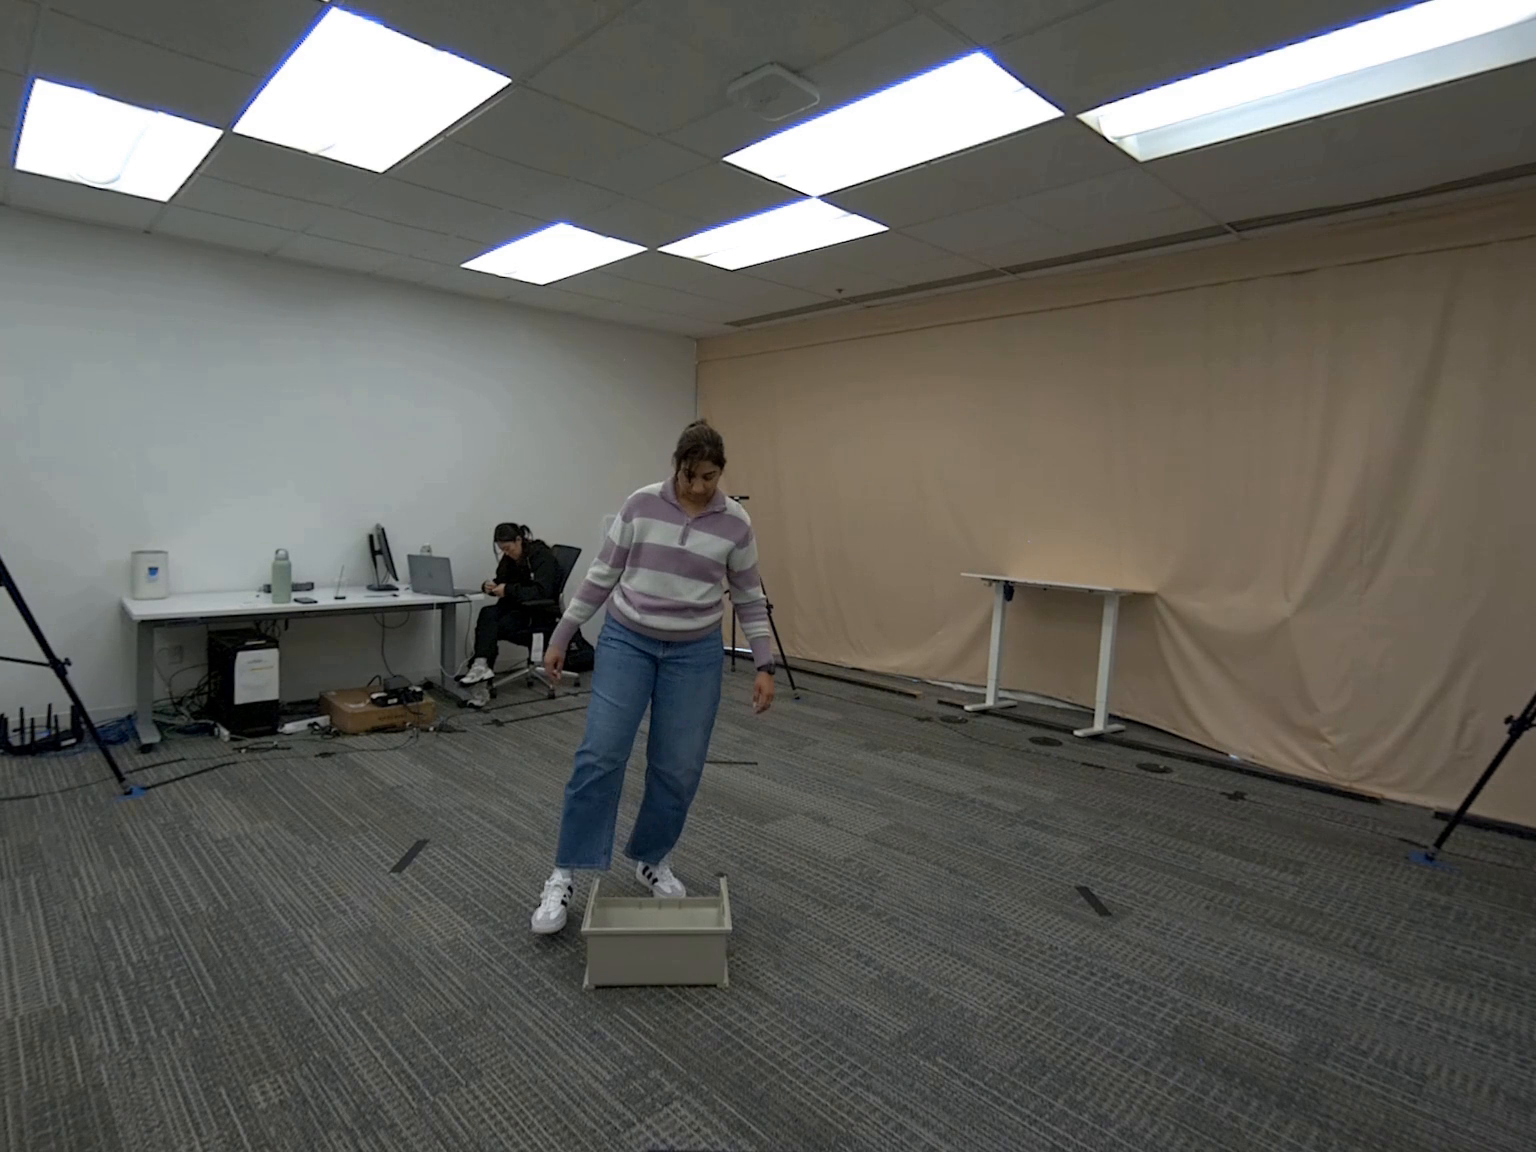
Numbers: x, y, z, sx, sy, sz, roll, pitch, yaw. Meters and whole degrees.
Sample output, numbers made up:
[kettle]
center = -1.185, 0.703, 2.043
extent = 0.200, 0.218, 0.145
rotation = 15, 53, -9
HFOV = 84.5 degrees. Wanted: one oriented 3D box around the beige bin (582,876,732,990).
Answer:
[beige bin]
center = -0.331, 1.067, 2.534
extent = 0.421, 0.188, 0.380
rotation = 1, 5, -5
